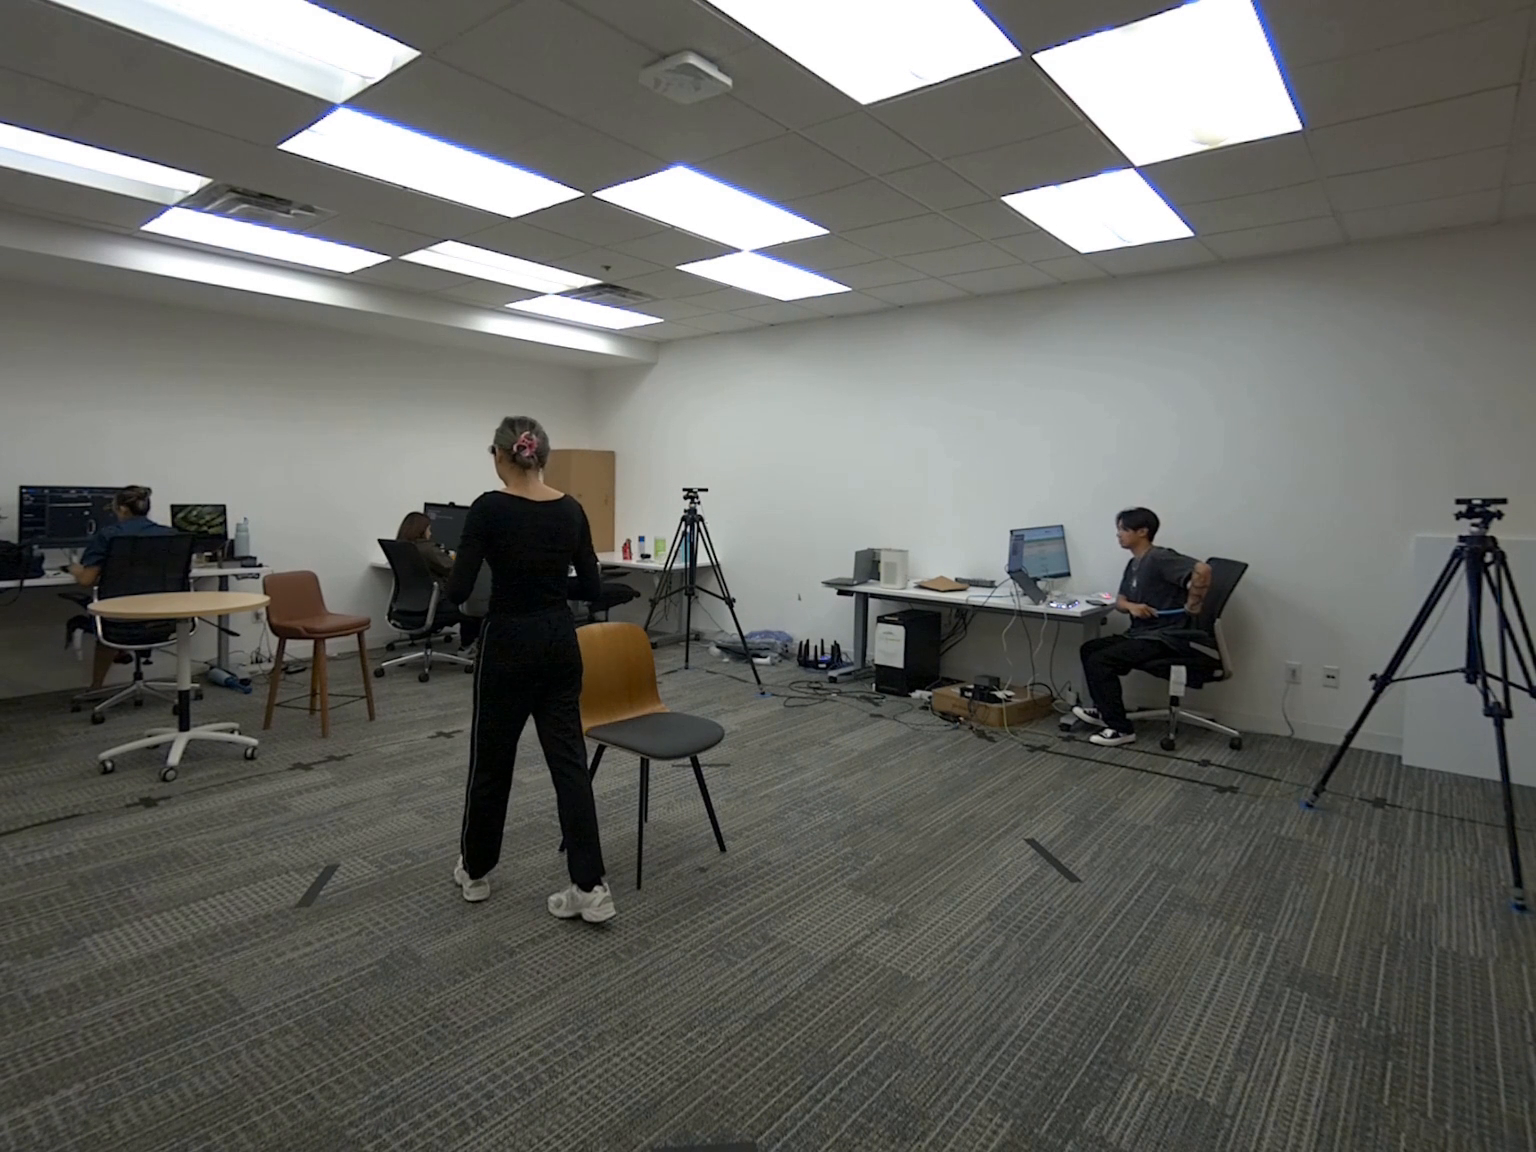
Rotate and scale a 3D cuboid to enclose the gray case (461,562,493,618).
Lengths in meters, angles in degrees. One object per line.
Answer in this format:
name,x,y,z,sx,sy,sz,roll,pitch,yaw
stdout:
gray case,-0.962,-0.001,2.974,0.250,0.261,0.107,0,-3,-27
